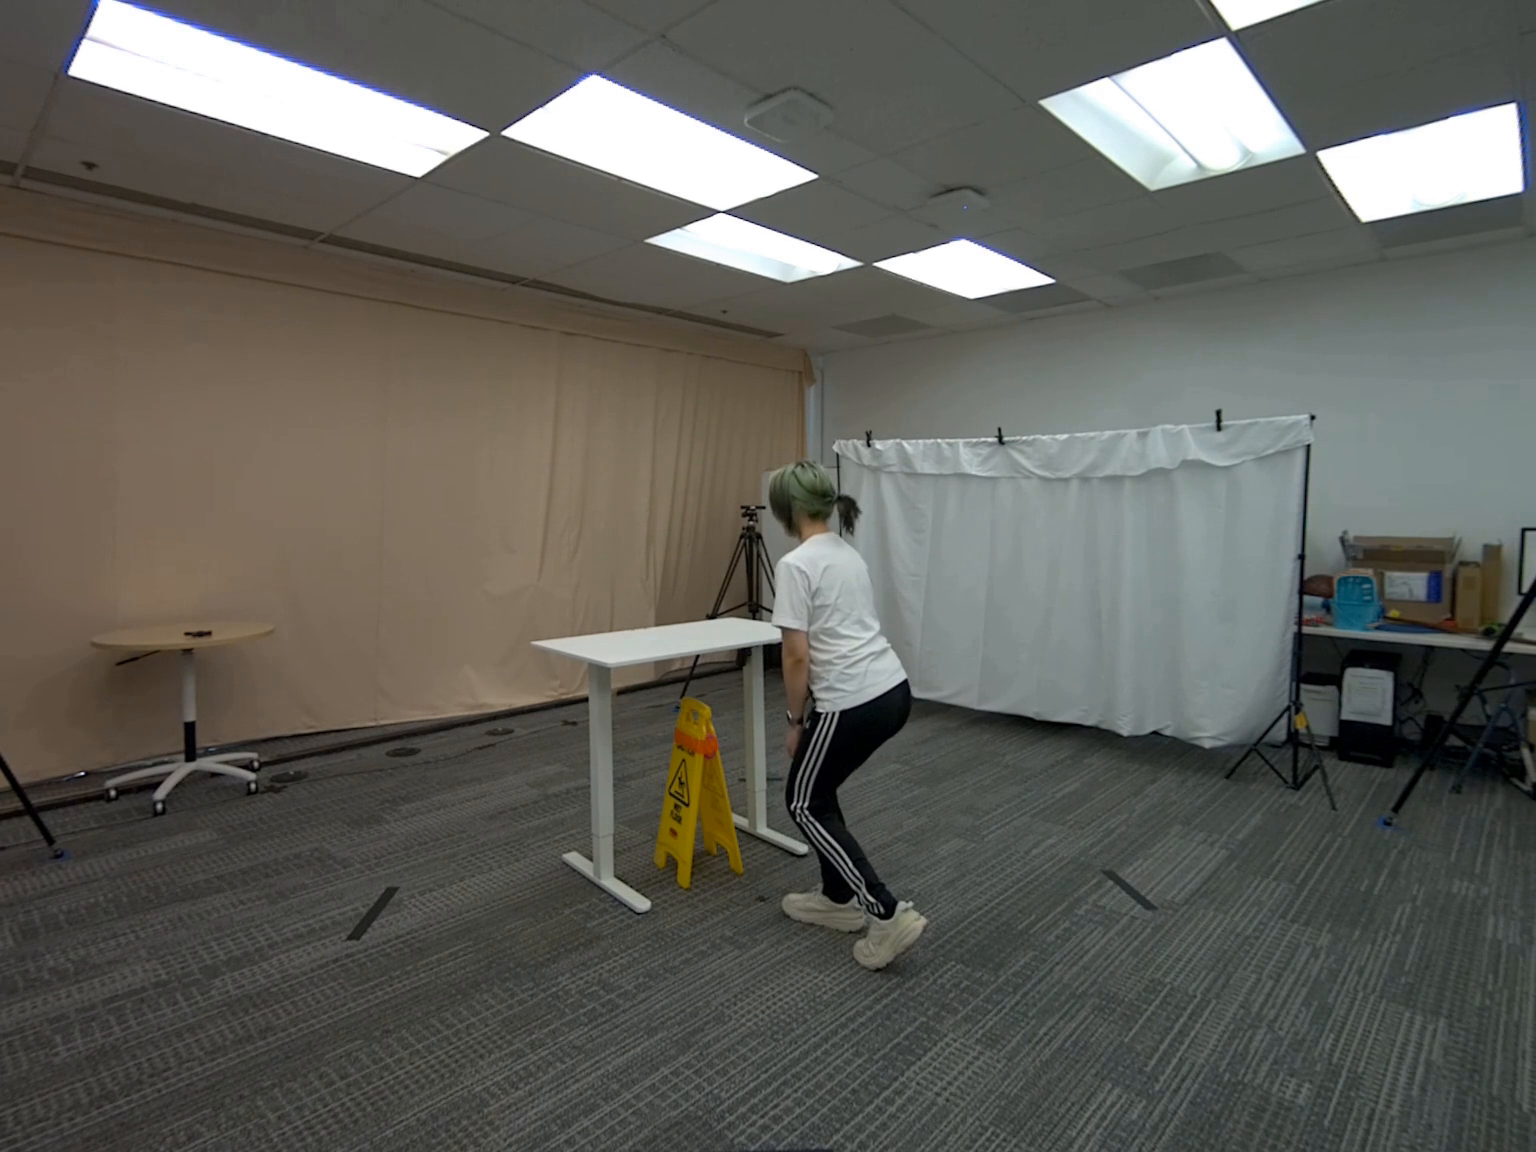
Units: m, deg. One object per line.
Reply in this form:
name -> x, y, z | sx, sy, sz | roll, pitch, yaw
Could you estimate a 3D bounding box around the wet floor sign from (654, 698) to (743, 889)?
wet floor sign -> -0.272, 0.799, 3.220 | 0.282, 0.645, 0.290 | -2, 4, -30
